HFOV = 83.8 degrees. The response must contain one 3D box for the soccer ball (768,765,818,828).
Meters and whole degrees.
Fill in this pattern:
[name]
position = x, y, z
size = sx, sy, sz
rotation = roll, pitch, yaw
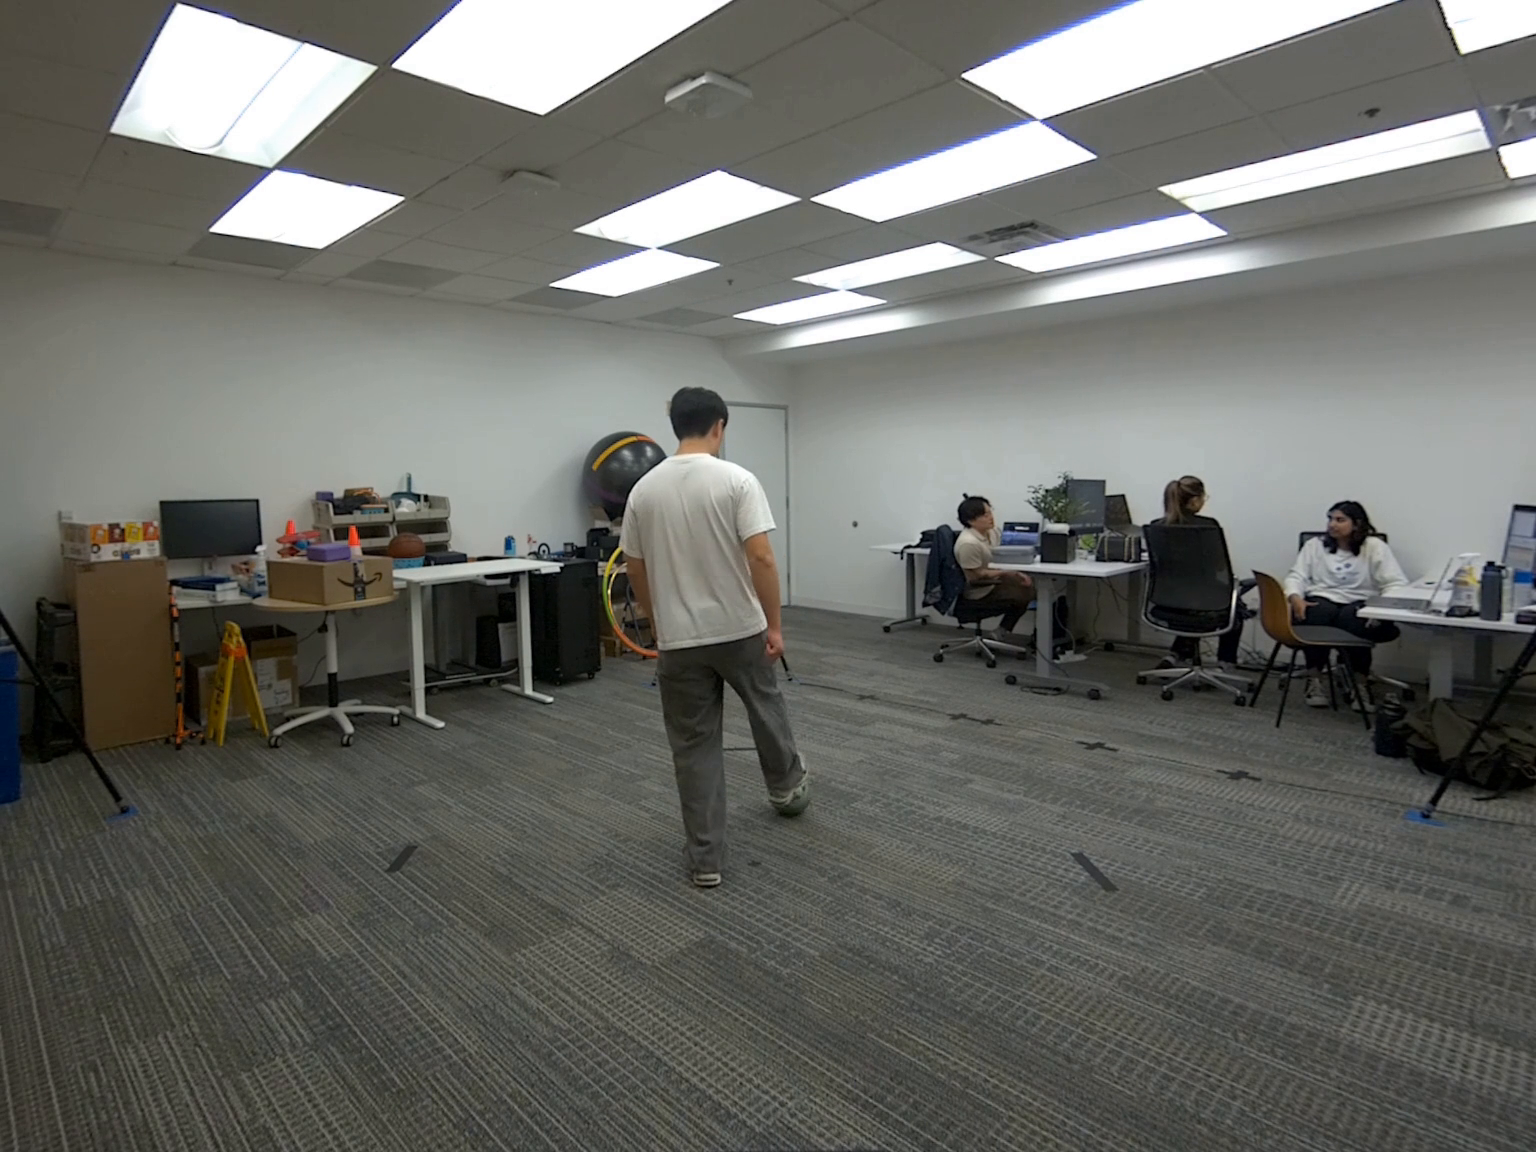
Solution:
[soccer ball]
position = 0.098, 0.906, 3.537
size = 0.187, 0.187, 0.188
rotation = -1, 5, -2
